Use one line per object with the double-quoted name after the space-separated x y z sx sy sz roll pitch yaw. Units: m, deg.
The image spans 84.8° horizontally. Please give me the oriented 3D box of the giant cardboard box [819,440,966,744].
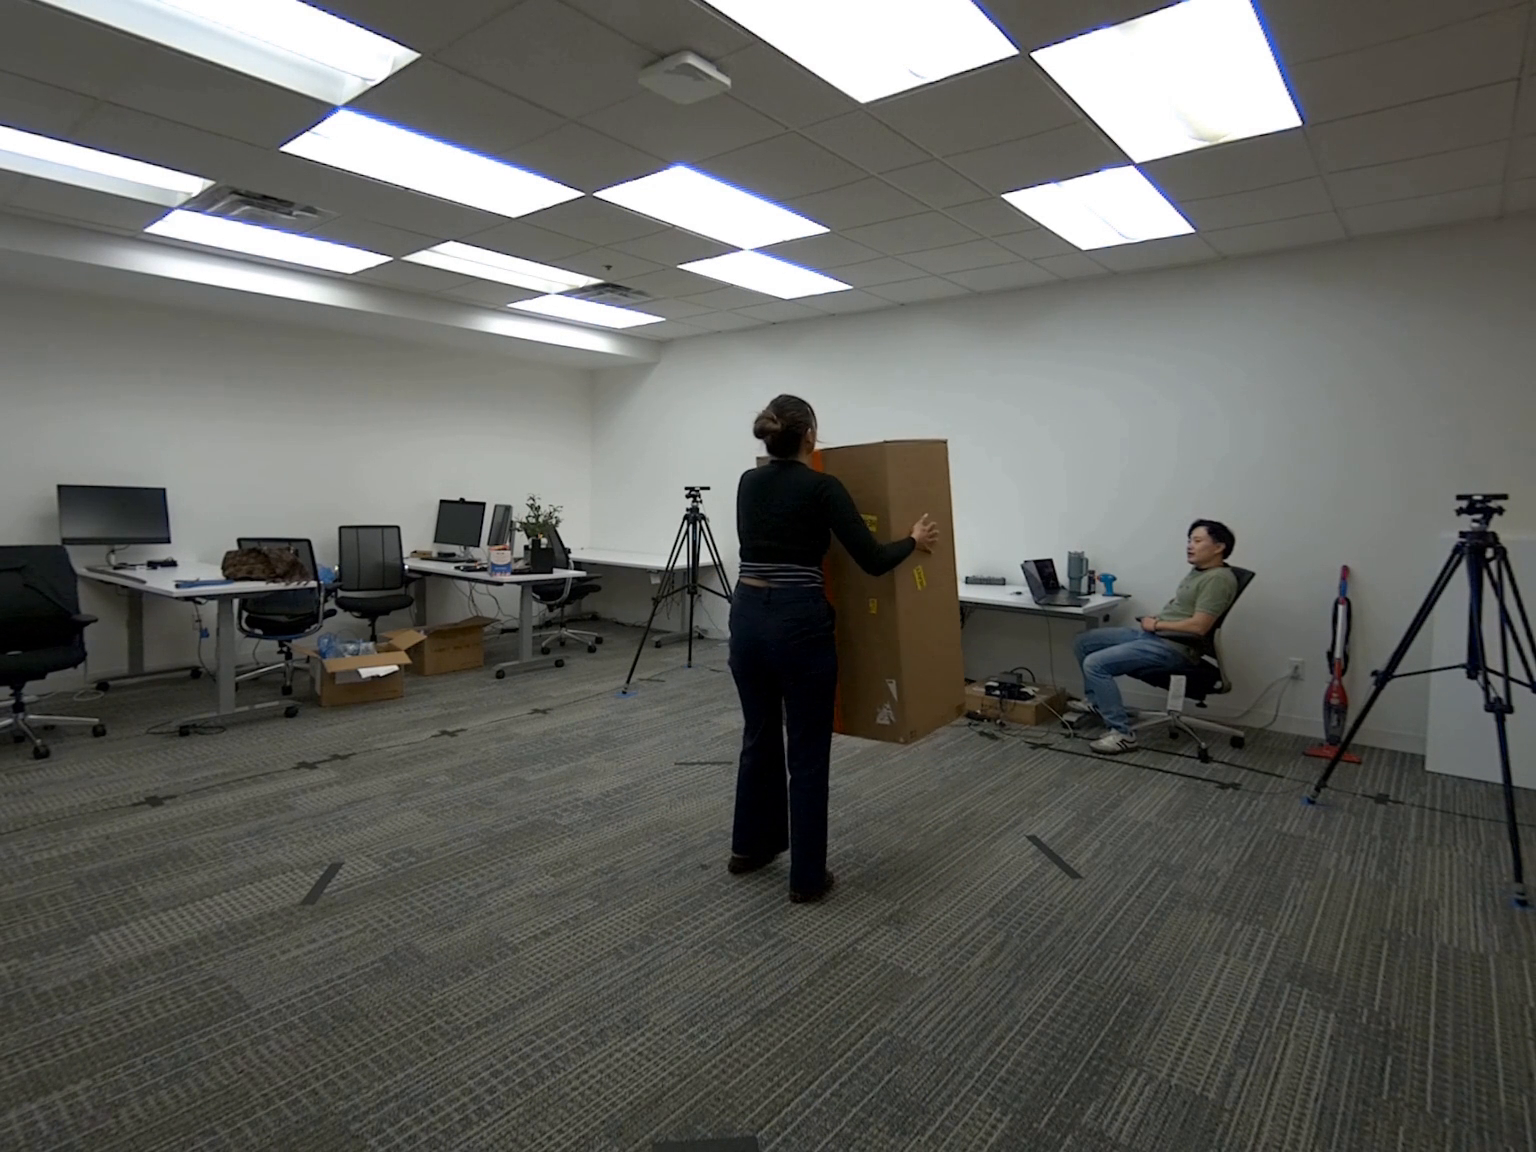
0.329 0.031 3.174 0.595 1.023 0.414 -2 4 43 "giant cardboard box"
